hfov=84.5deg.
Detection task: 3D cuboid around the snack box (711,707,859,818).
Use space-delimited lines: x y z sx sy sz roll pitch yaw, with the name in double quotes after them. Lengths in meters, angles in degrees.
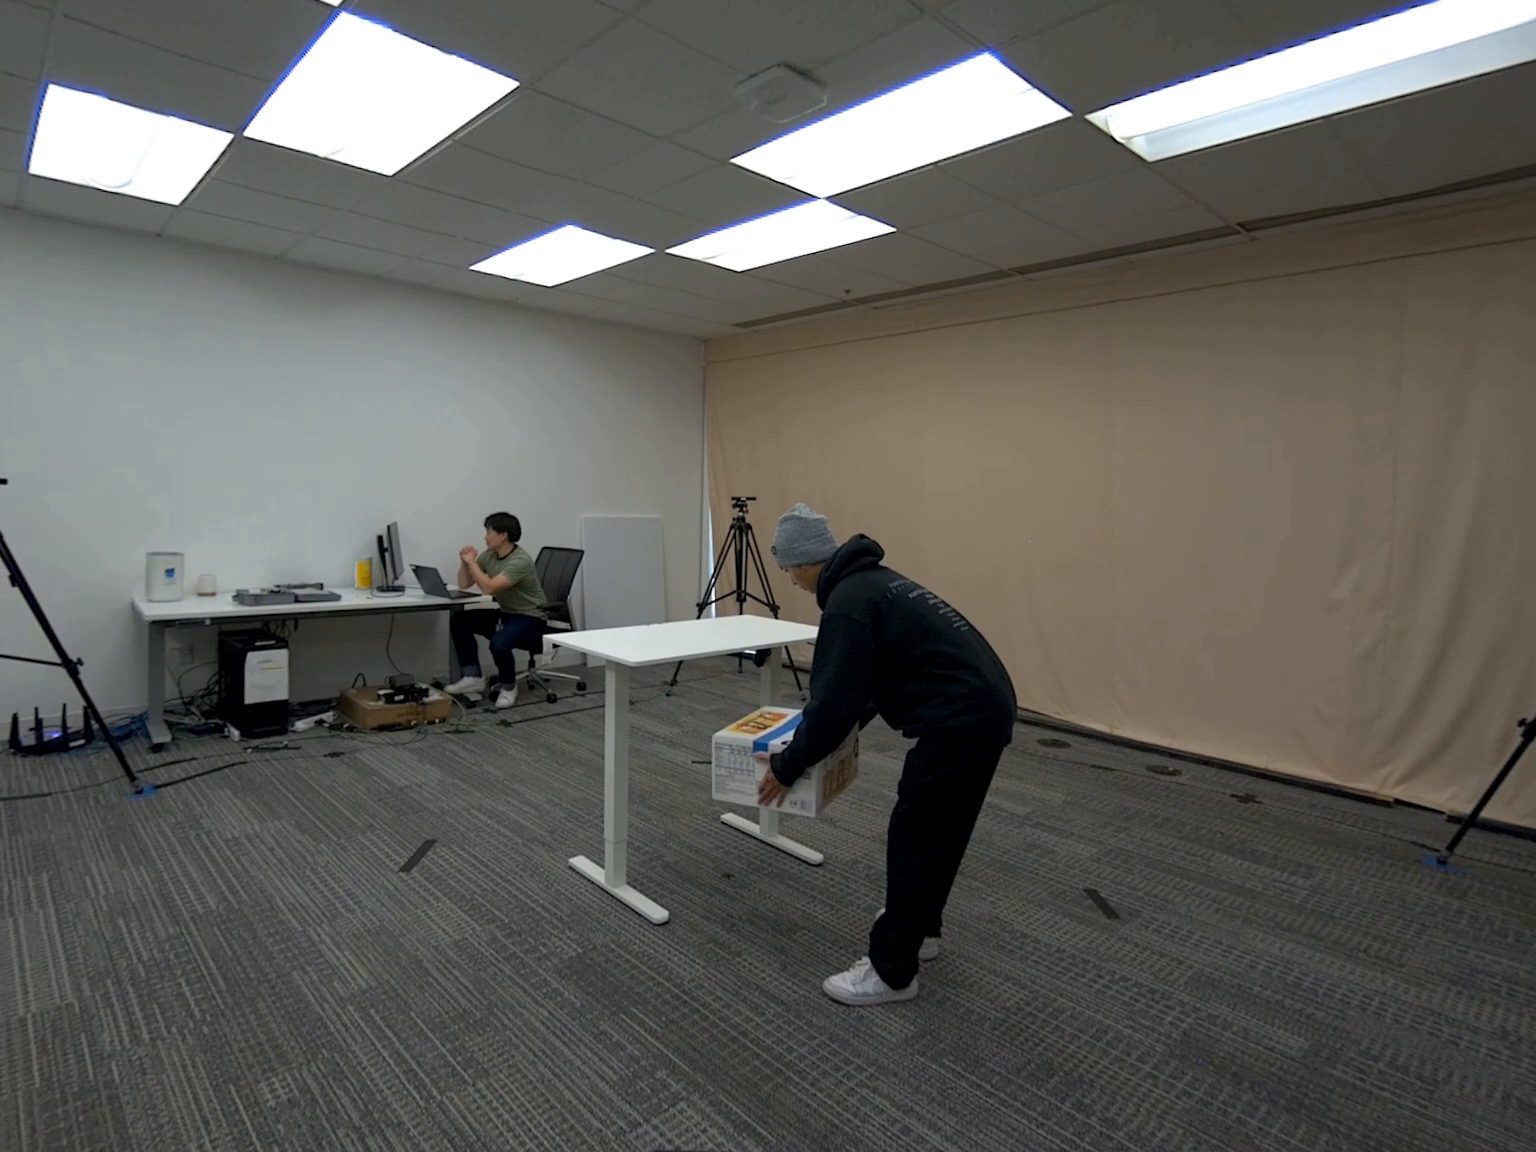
0.062 0.574 2.664 0.347 0.205 0.399 3 6 25 "snack box"
